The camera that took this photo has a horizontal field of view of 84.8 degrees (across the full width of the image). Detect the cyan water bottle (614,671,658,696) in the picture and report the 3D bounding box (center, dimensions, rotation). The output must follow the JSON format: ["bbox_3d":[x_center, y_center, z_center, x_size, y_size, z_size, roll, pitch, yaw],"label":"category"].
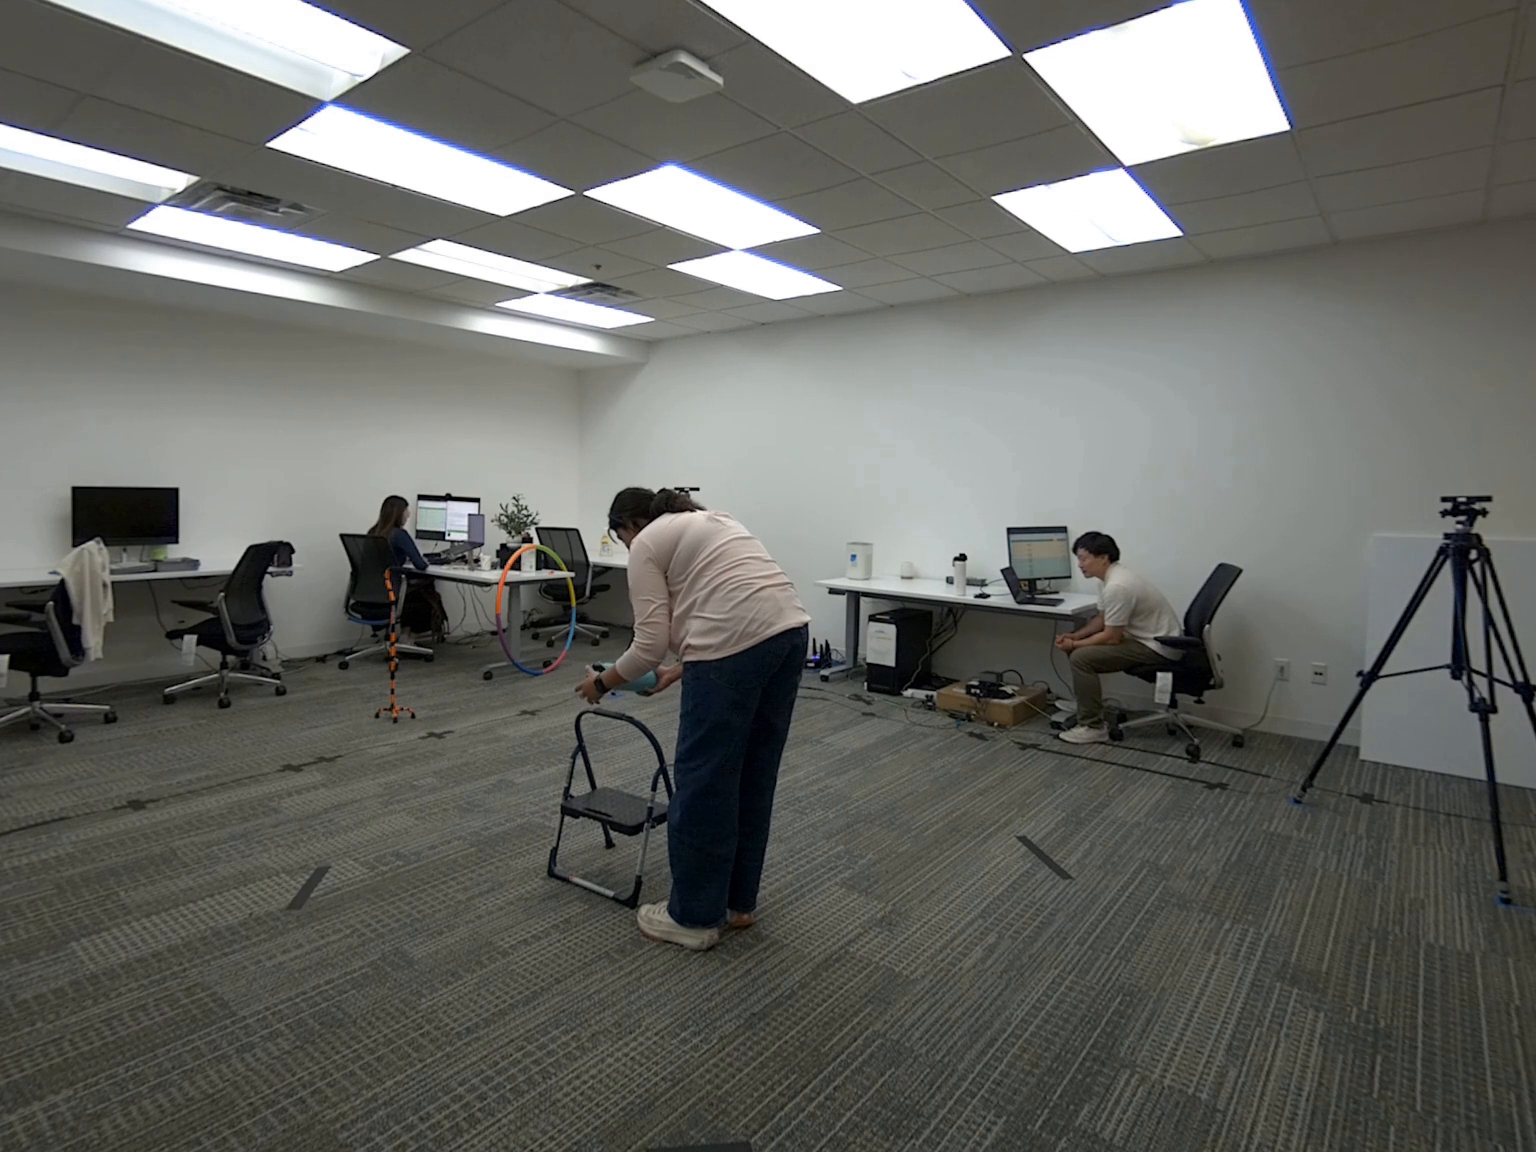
[{"bbox_3d":[-0.521,0.352,2.947,0.095,0.093,0.273,4,-8,31],"label":"cyan water bottle"}]
